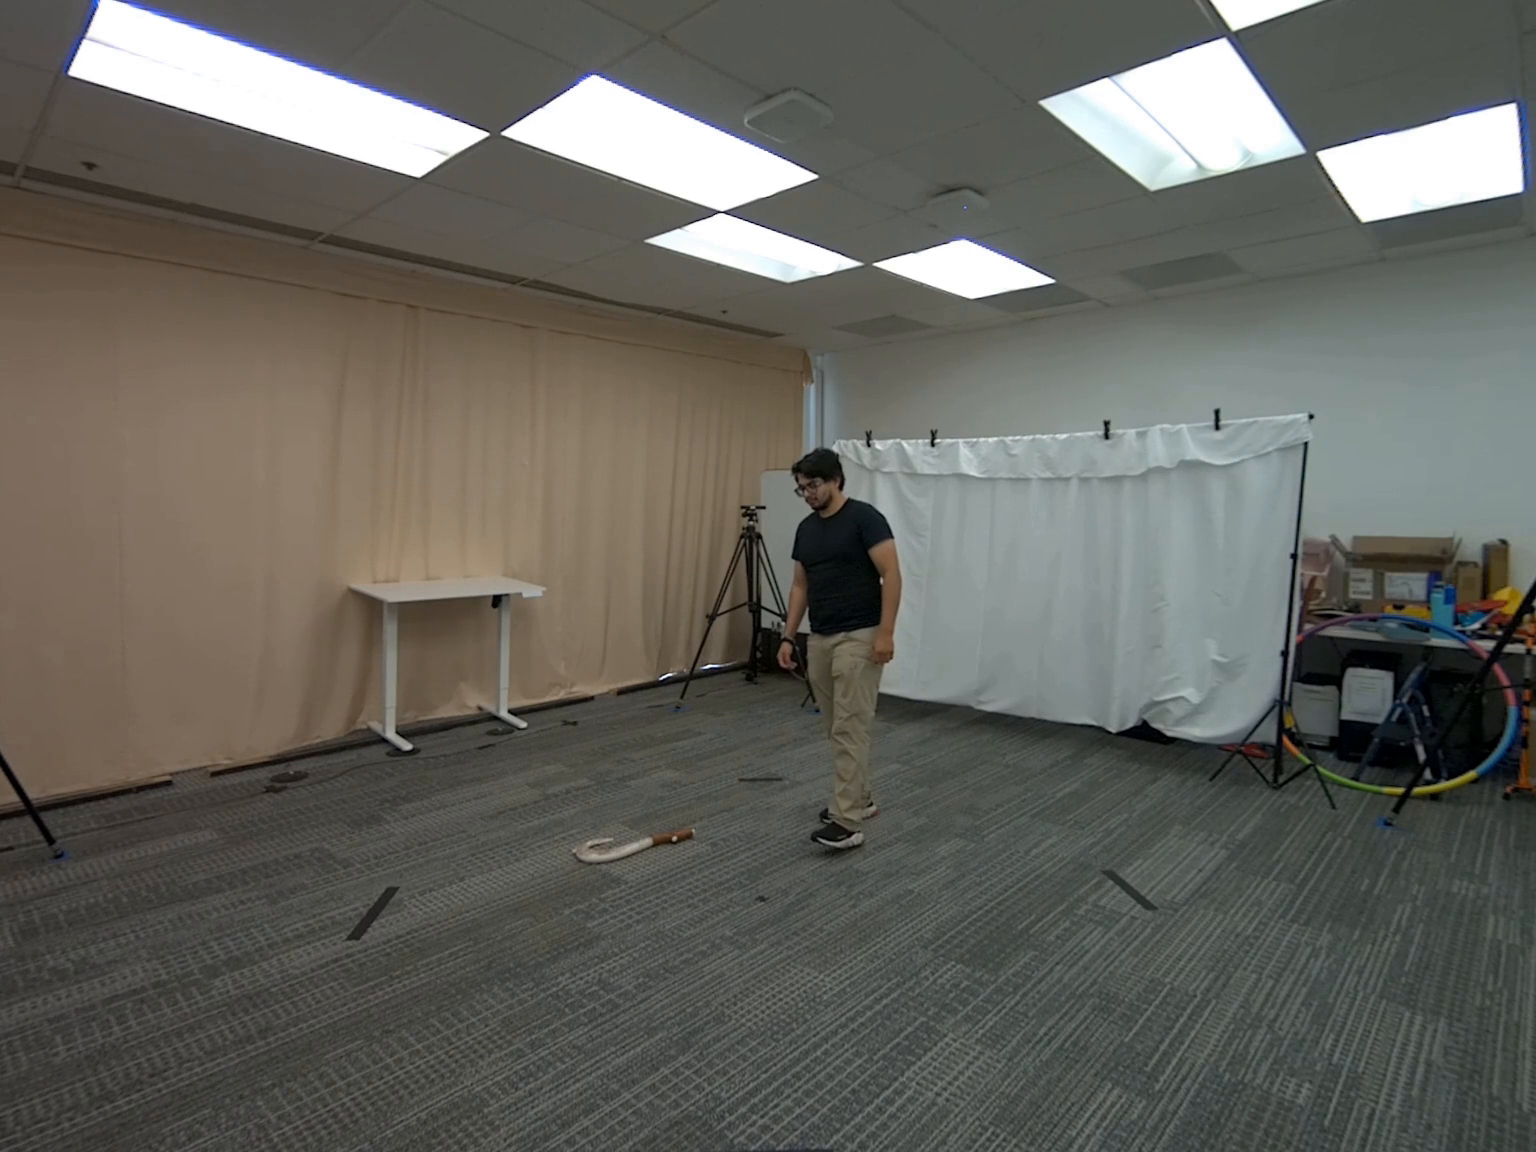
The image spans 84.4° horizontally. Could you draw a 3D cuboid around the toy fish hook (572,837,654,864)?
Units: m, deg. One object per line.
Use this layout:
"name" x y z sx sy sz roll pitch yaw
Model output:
"toy fish hook" -0.555 1.090 3.460 0.493 0.048 0.231 -3 6 -30
